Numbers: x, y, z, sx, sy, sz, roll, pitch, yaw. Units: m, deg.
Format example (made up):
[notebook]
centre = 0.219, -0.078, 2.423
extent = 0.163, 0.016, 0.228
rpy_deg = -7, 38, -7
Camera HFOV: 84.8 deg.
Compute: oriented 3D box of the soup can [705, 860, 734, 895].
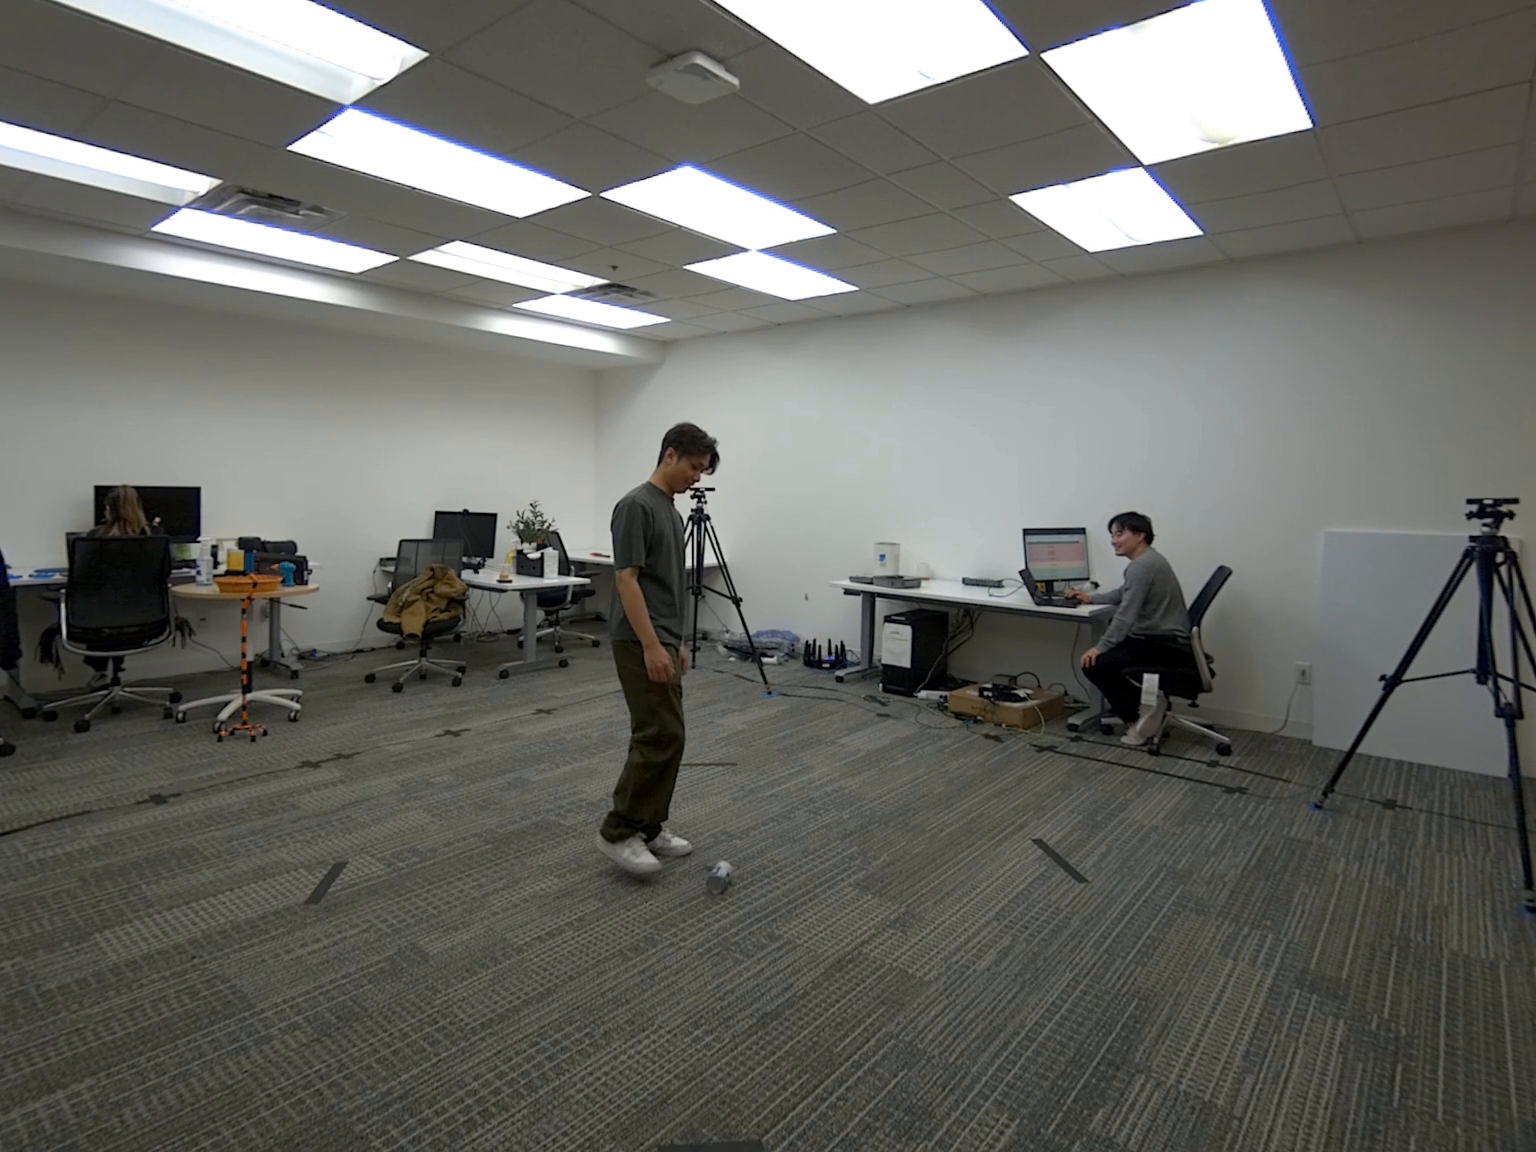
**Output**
[soup can]
centre = -0.175, 1.047, 2.966
extent = 0.068, 0.067, 0.121
rpy_deg = 2, 8, 9
